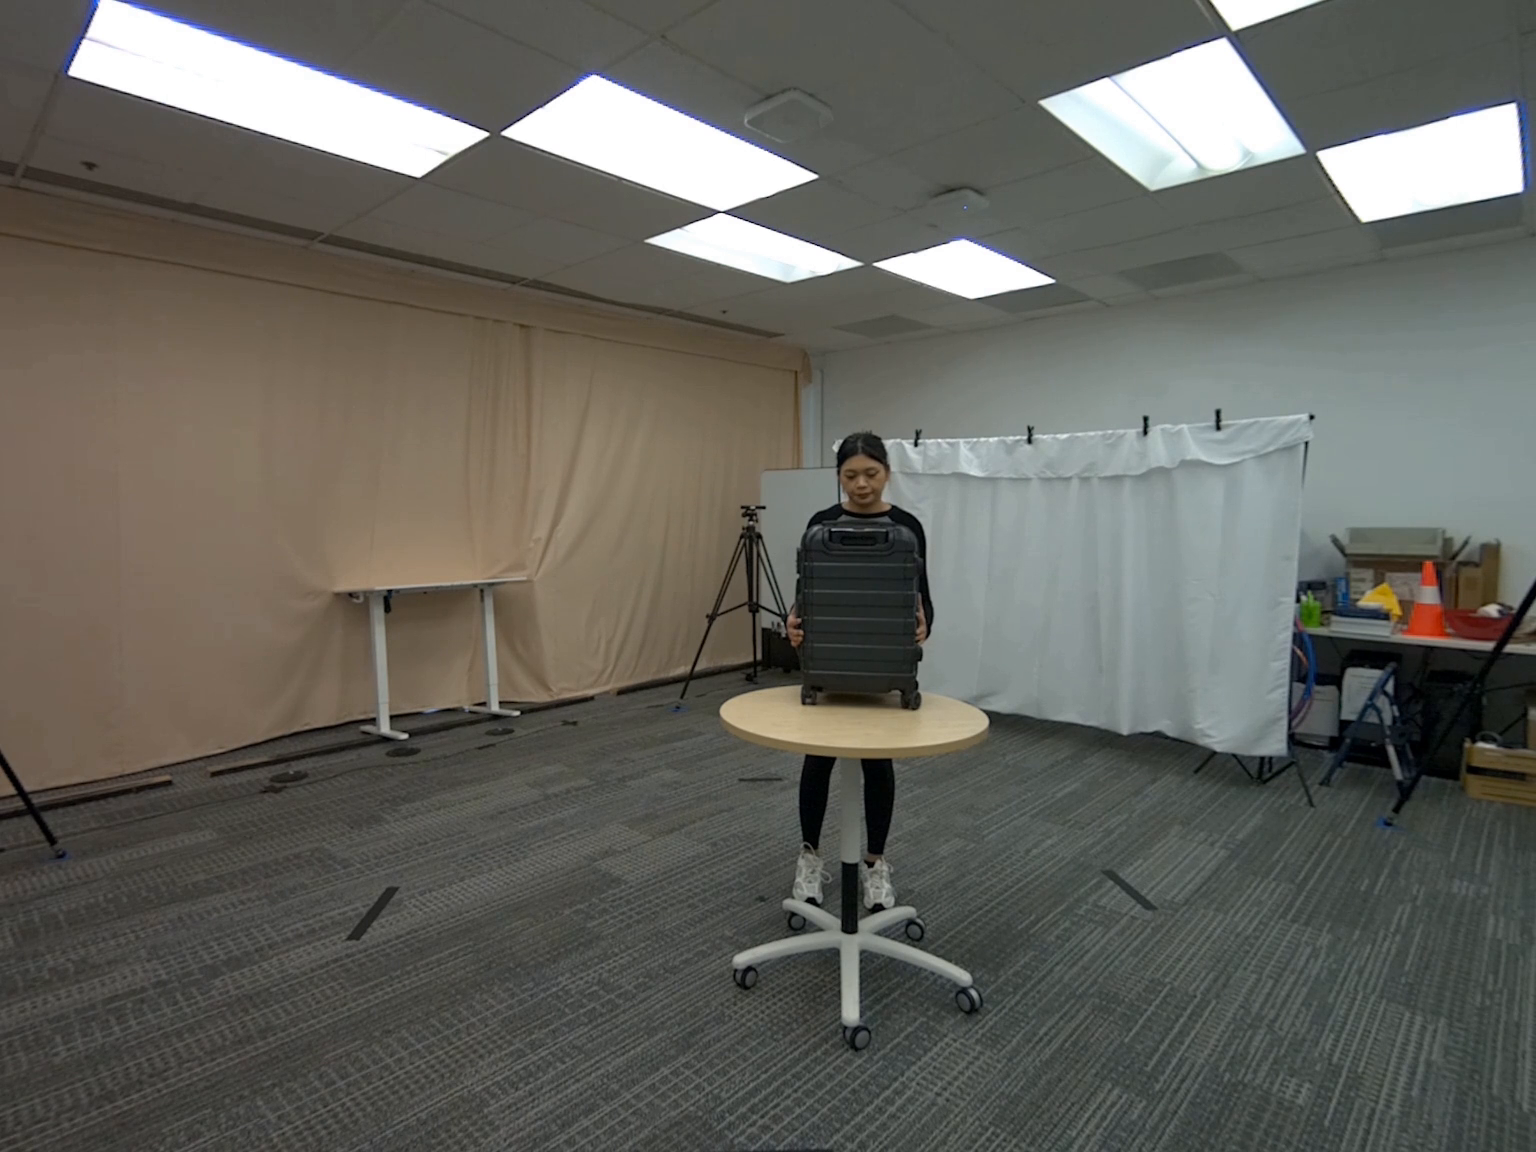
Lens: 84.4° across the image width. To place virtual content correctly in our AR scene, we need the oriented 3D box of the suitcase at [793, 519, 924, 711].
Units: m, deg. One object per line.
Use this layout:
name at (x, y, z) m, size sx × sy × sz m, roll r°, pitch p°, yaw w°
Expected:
suitcase at (0.274, 0.107, 2.589) m, size 0.380 × 0.548 × 0.246 m, roll 0°, pitch 4°, yaw 10°
